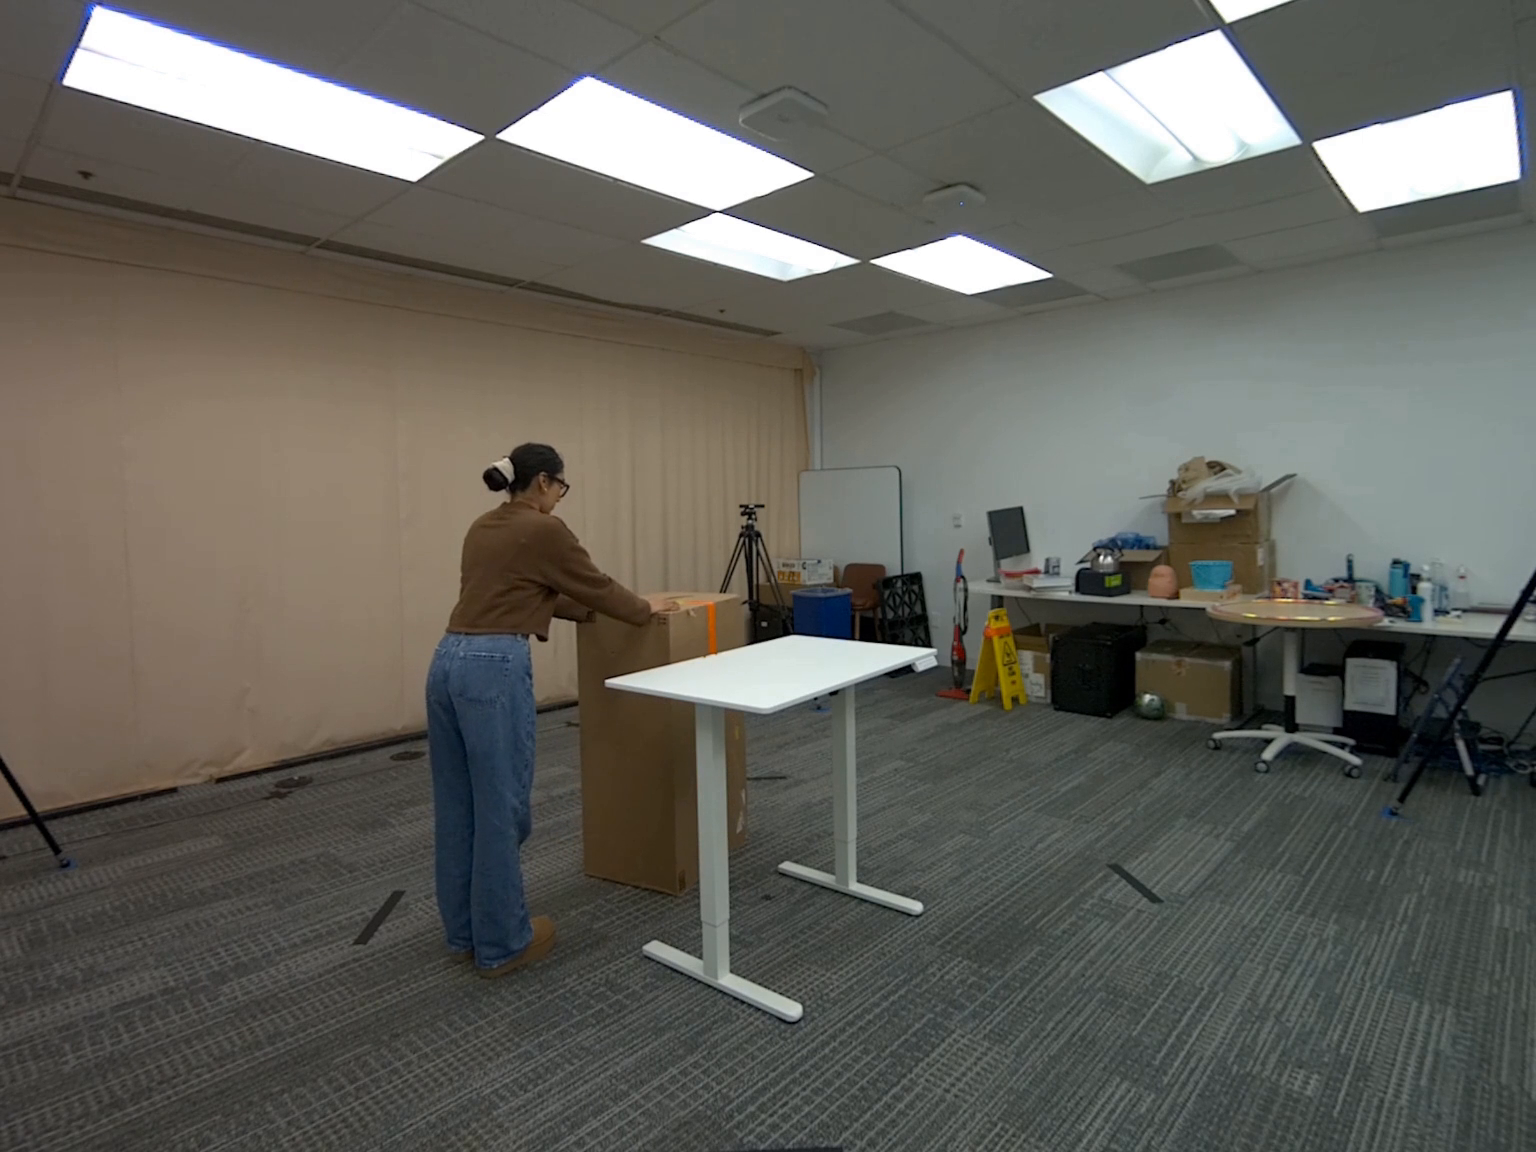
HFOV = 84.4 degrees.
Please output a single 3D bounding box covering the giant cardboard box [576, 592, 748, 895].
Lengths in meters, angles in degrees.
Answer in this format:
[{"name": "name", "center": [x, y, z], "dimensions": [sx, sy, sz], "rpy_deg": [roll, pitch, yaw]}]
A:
[{"name": "giant cardboard box", "center": [-0.401, 0.605, 3.322], "dimensions": [0.437, 1.023, 0.564], "rpy_deg": [0, 4, 26]}]
